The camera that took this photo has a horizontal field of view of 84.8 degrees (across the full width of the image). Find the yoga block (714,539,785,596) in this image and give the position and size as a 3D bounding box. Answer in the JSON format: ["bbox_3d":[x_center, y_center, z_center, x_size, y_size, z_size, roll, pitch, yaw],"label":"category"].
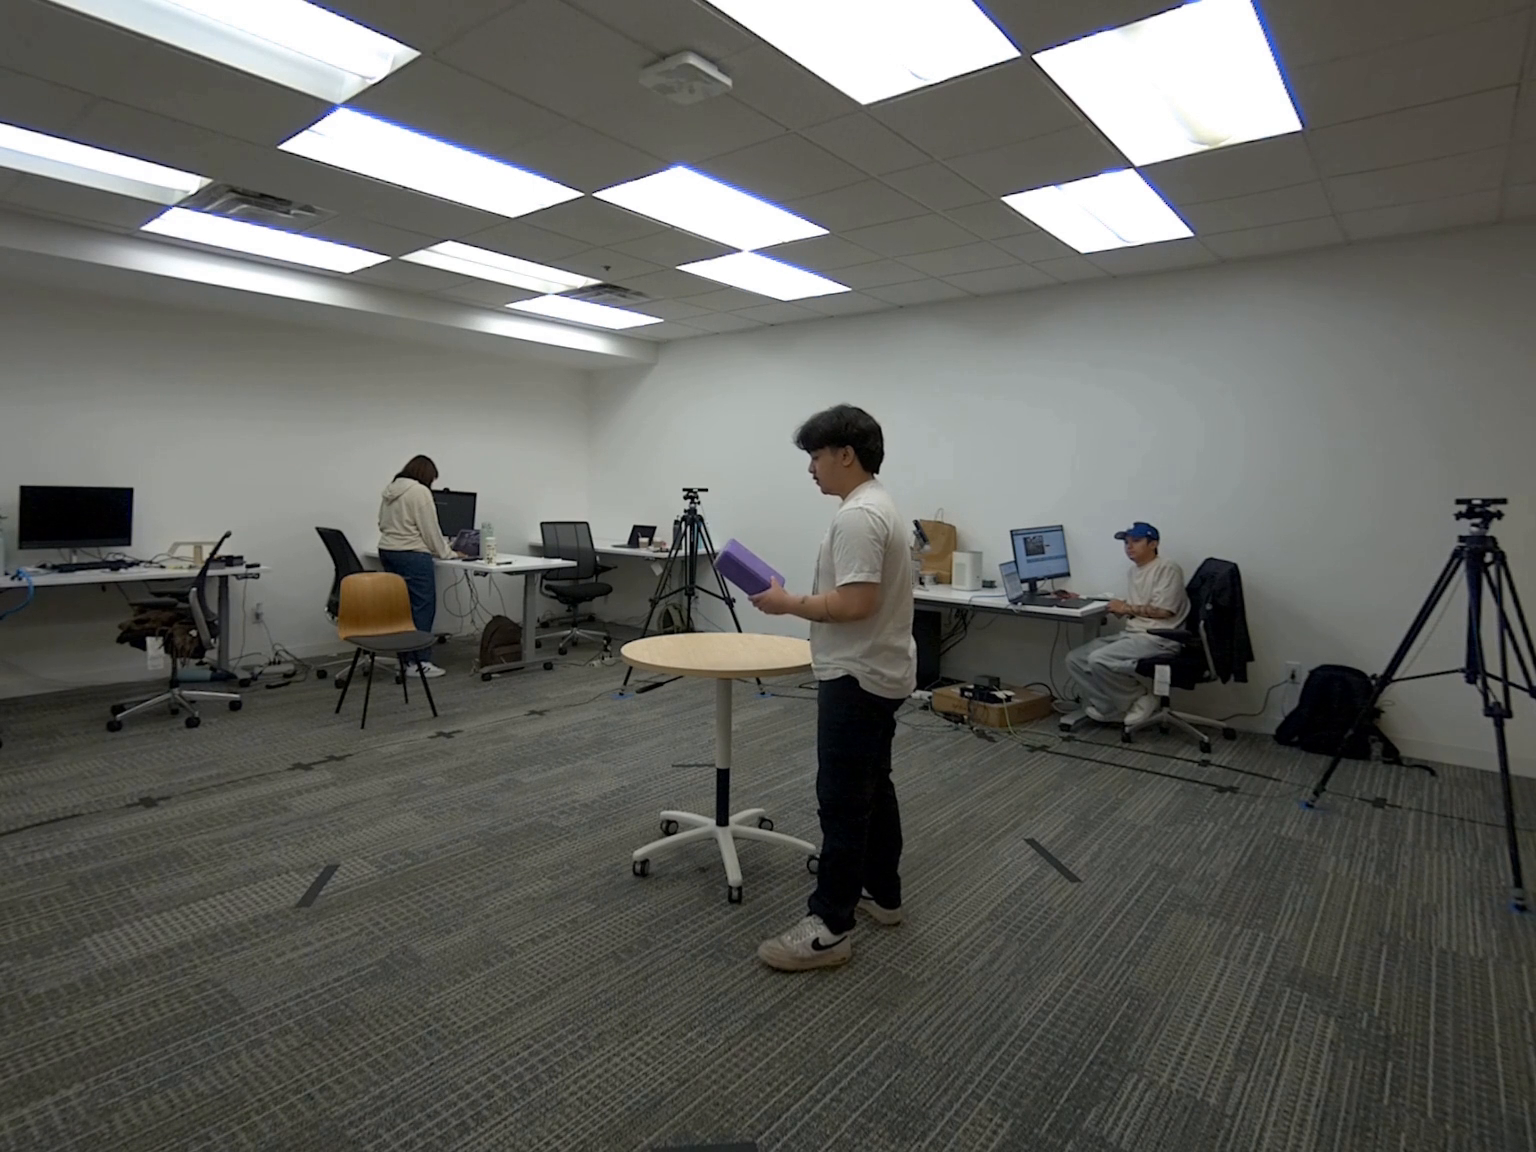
[{"bbox_3d":[-0.064,-0.012,2.749,0.229,0.076,0.150,36,22,-1],"label":"yoga block"}]
